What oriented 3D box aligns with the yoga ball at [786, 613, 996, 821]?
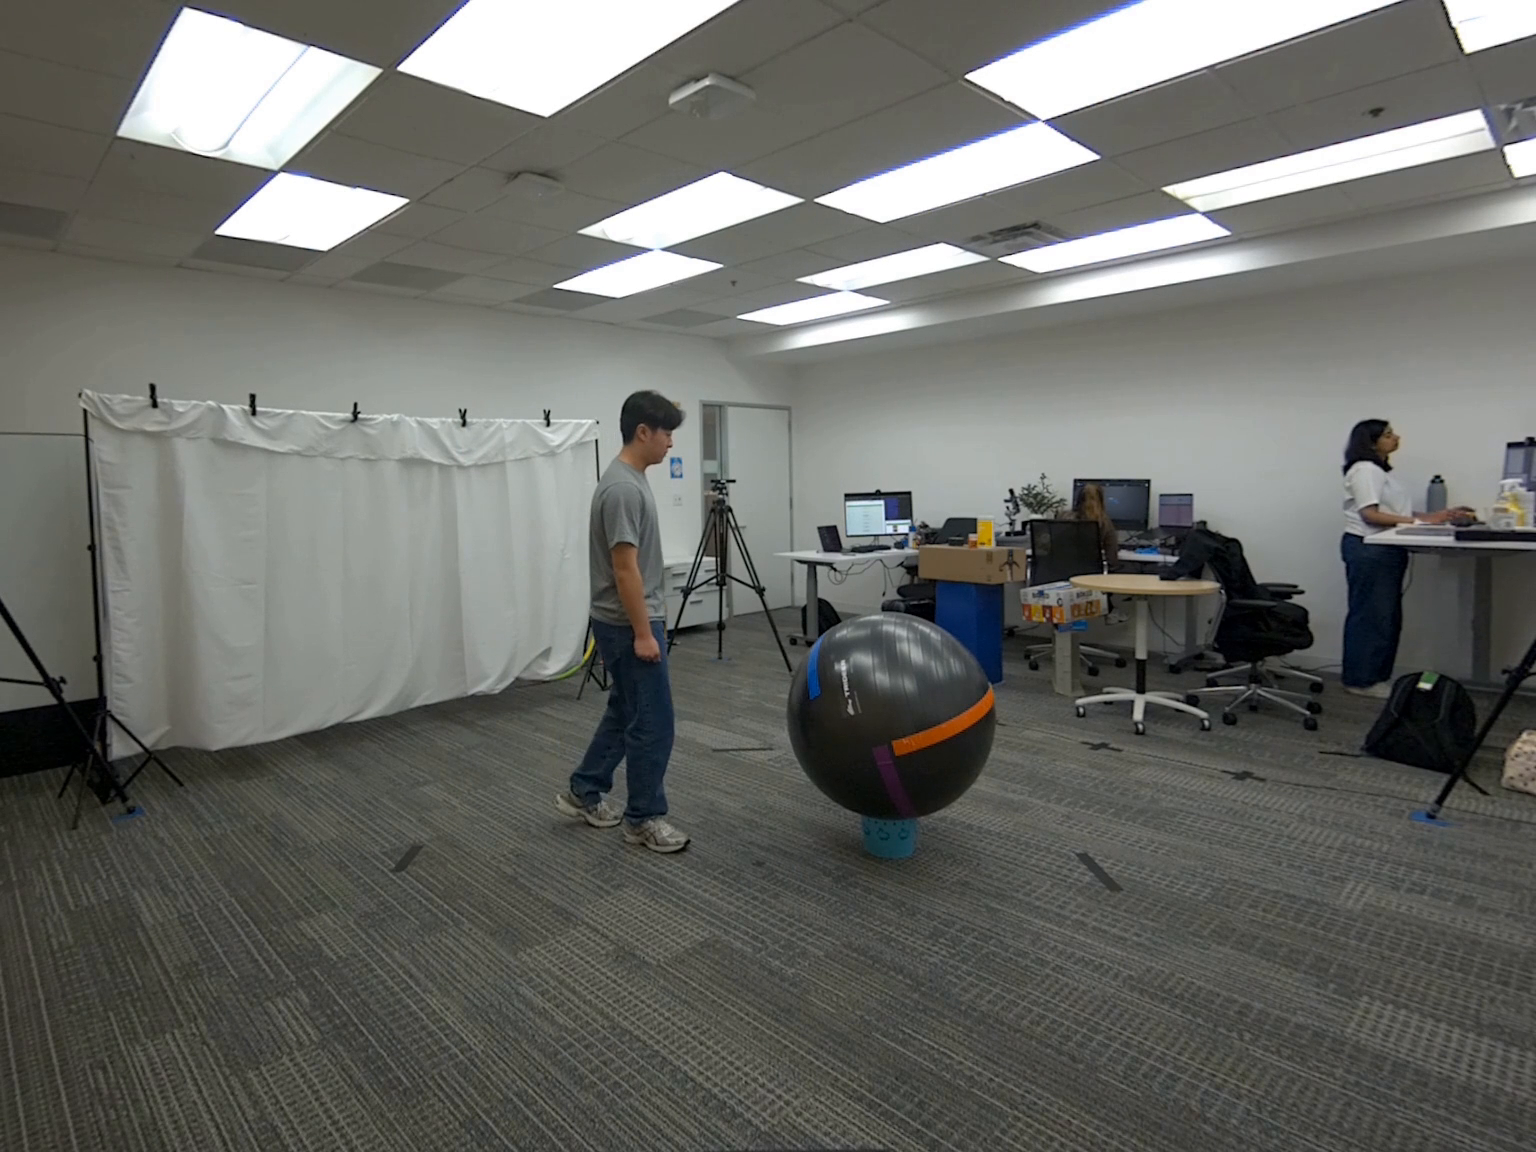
[{"bbox_3d":[0.443,0.516,3.195,0.757,0.755,0.762,-1,5,-2],"label":"yoga ball"}]
